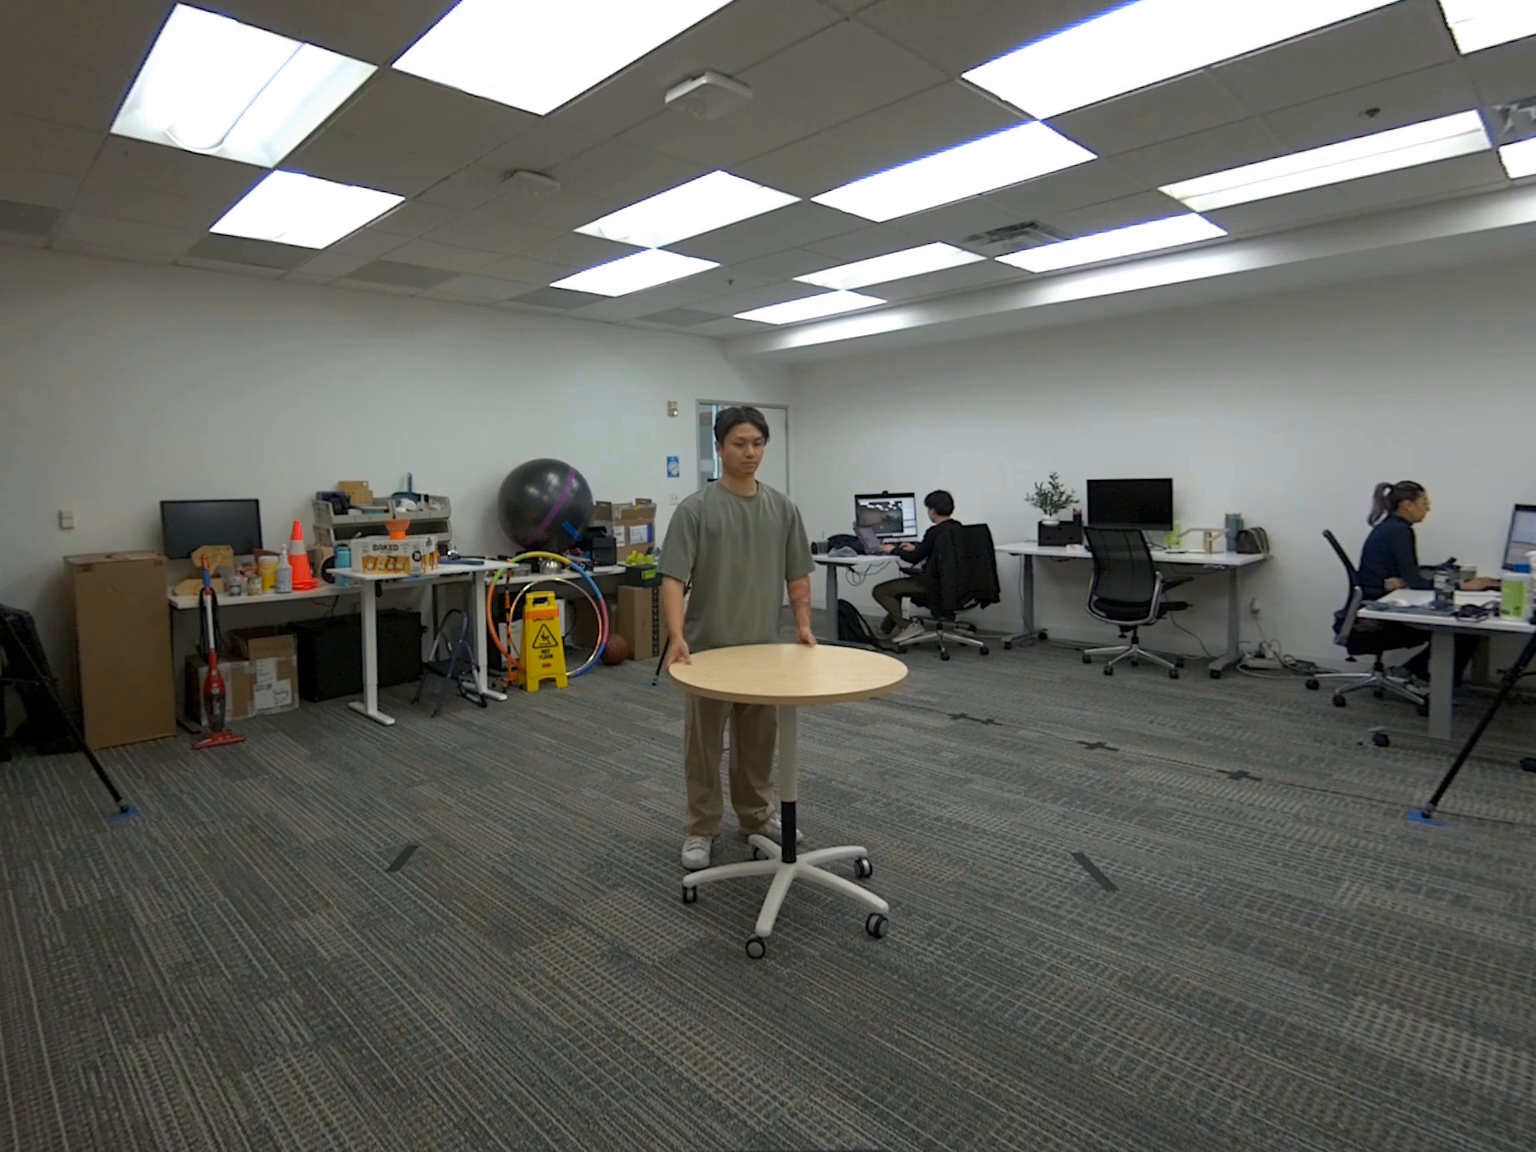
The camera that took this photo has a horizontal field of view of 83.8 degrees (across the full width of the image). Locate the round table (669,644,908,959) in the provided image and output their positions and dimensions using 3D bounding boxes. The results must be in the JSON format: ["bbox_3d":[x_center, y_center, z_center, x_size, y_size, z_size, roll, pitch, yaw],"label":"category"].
[{"bbox_3d":[0.058,0.687,2.778,0.784,0.784,0.789,-1,5,-2],"label":"round table"}]
